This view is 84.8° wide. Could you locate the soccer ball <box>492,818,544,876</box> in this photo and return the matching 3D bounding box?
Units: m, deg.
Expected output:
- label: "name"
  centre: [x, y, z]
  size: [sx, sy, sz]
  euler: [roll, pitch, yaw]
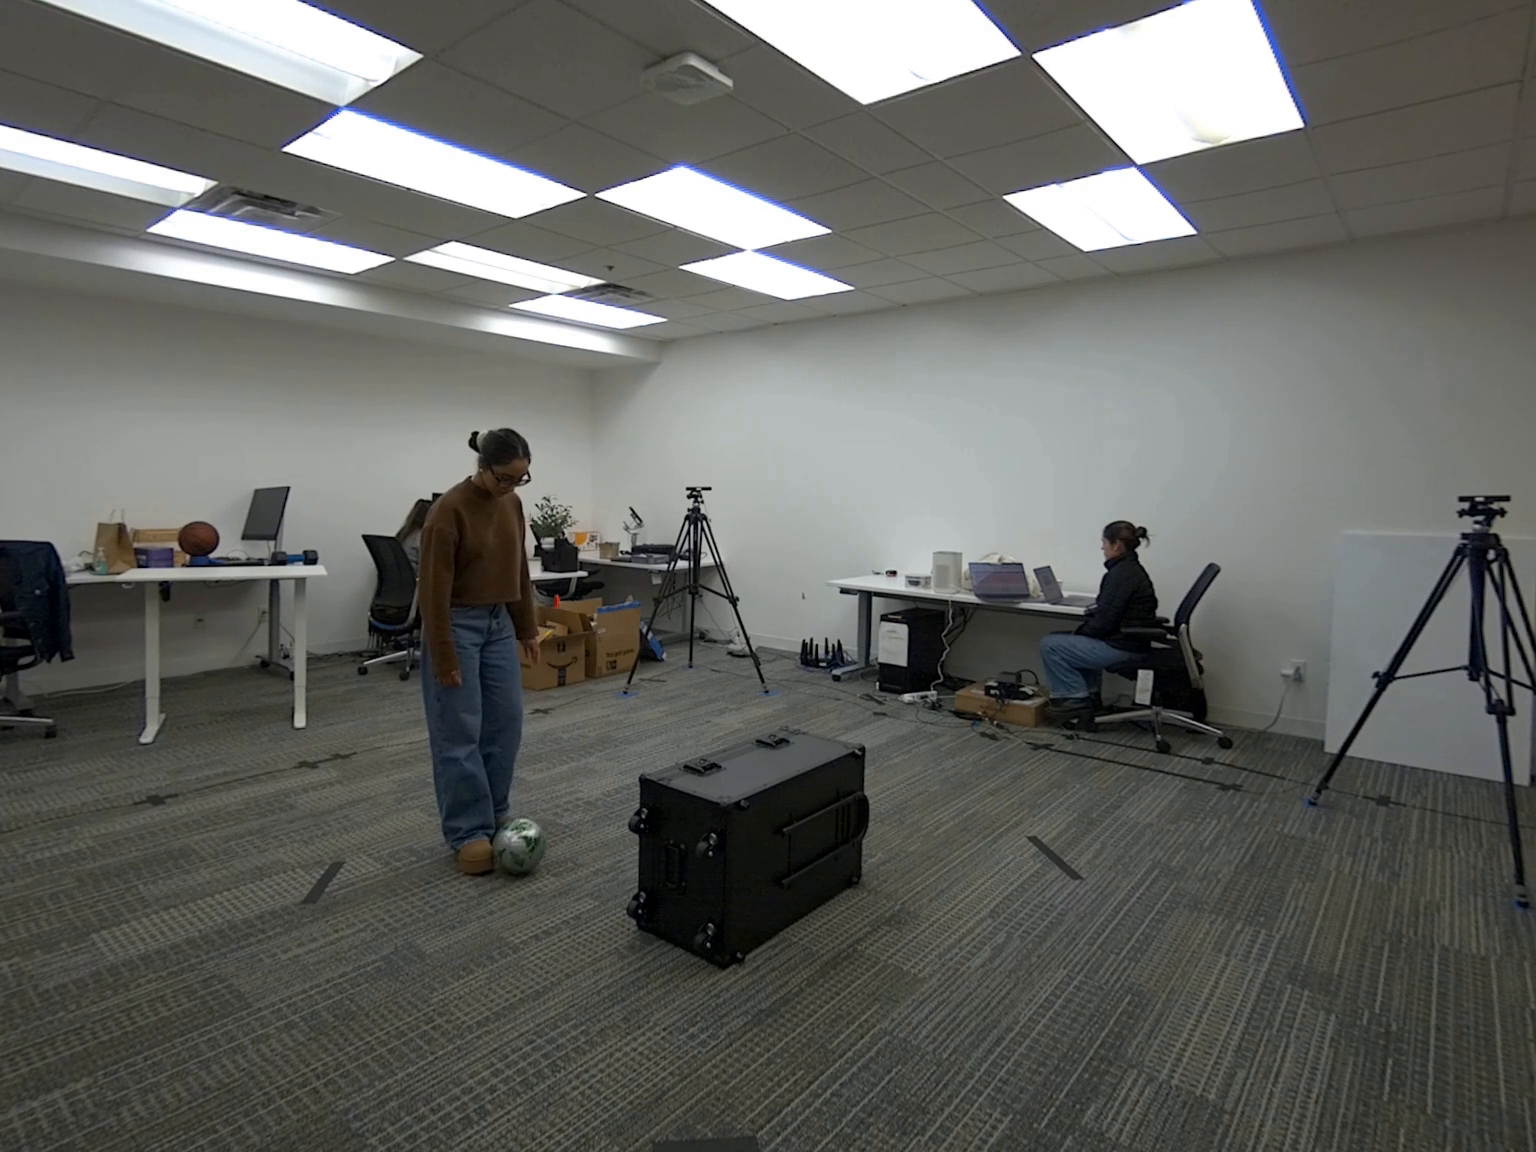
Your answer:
- label: "soccer ball"
  centre: [-0.895, 0.973, 3.051]
  size: [0.187, 0.187, 0.188]
  euler: [1, 4, -2]
